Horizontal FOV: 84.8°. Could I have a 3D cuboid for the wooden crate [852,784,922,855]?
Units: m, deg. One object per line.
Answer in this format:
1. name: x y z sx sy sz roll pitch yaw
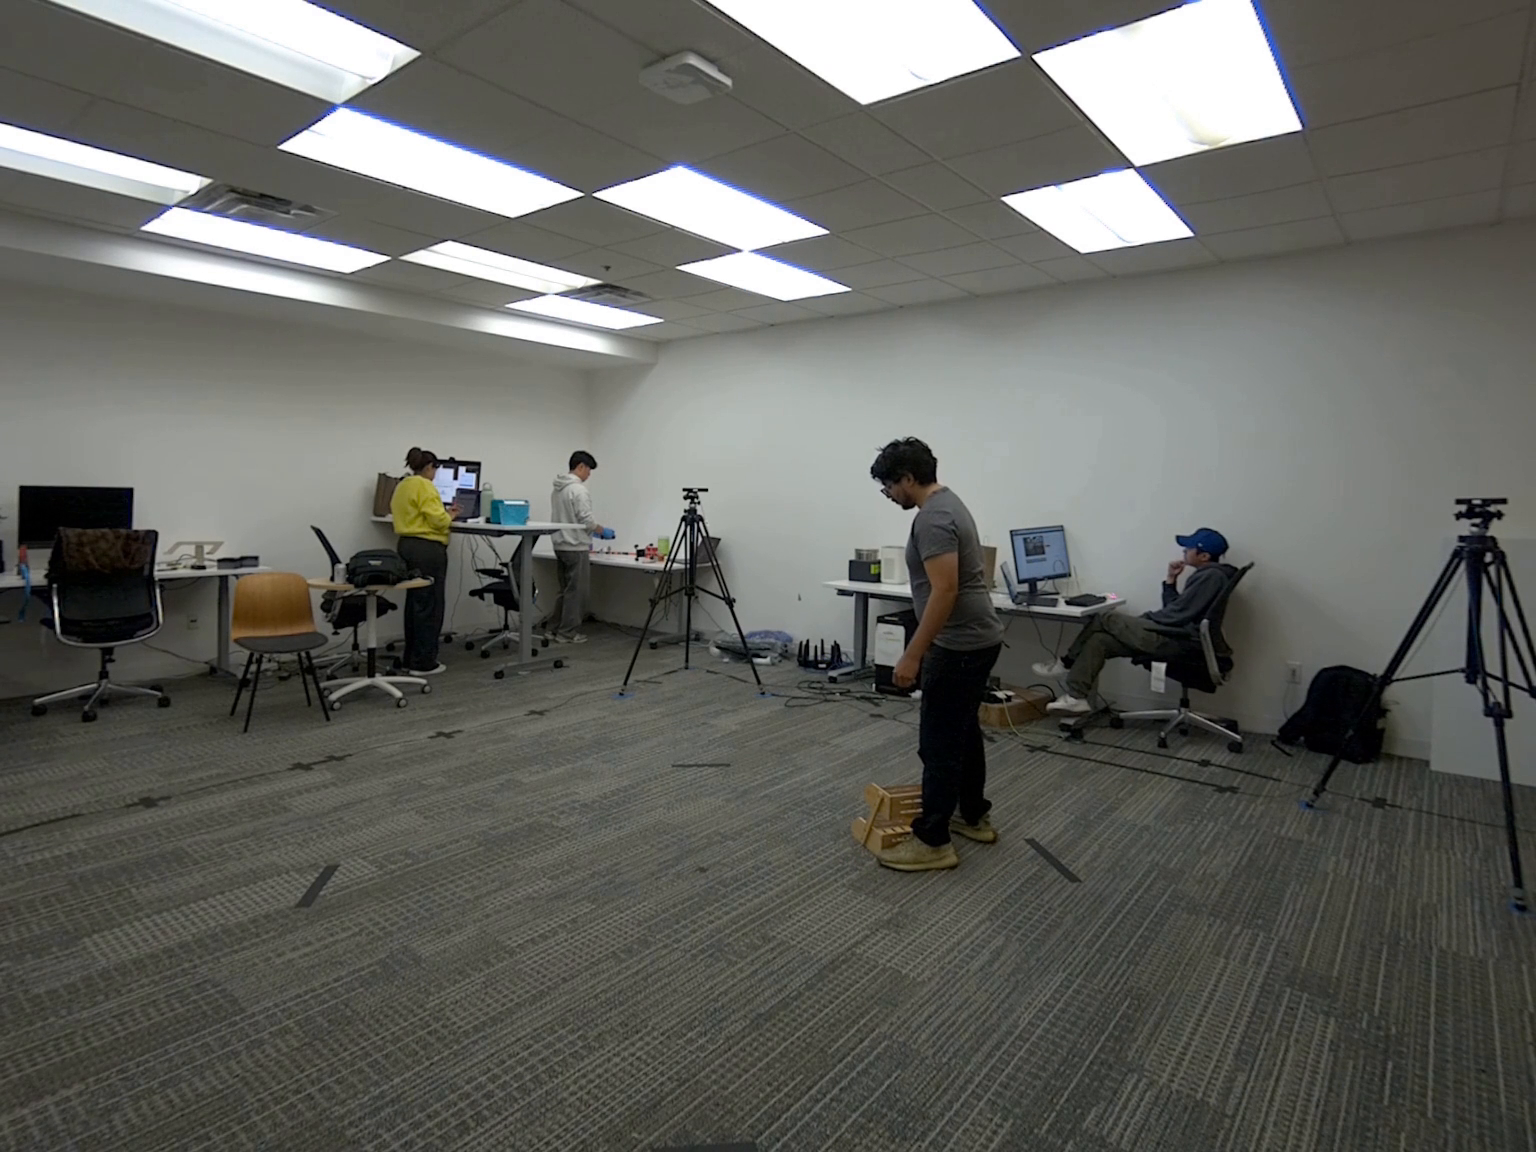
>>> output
1. wooden crate: 0.527 0.926 3.372 0.318 0.272 0.309 0 5 -20
